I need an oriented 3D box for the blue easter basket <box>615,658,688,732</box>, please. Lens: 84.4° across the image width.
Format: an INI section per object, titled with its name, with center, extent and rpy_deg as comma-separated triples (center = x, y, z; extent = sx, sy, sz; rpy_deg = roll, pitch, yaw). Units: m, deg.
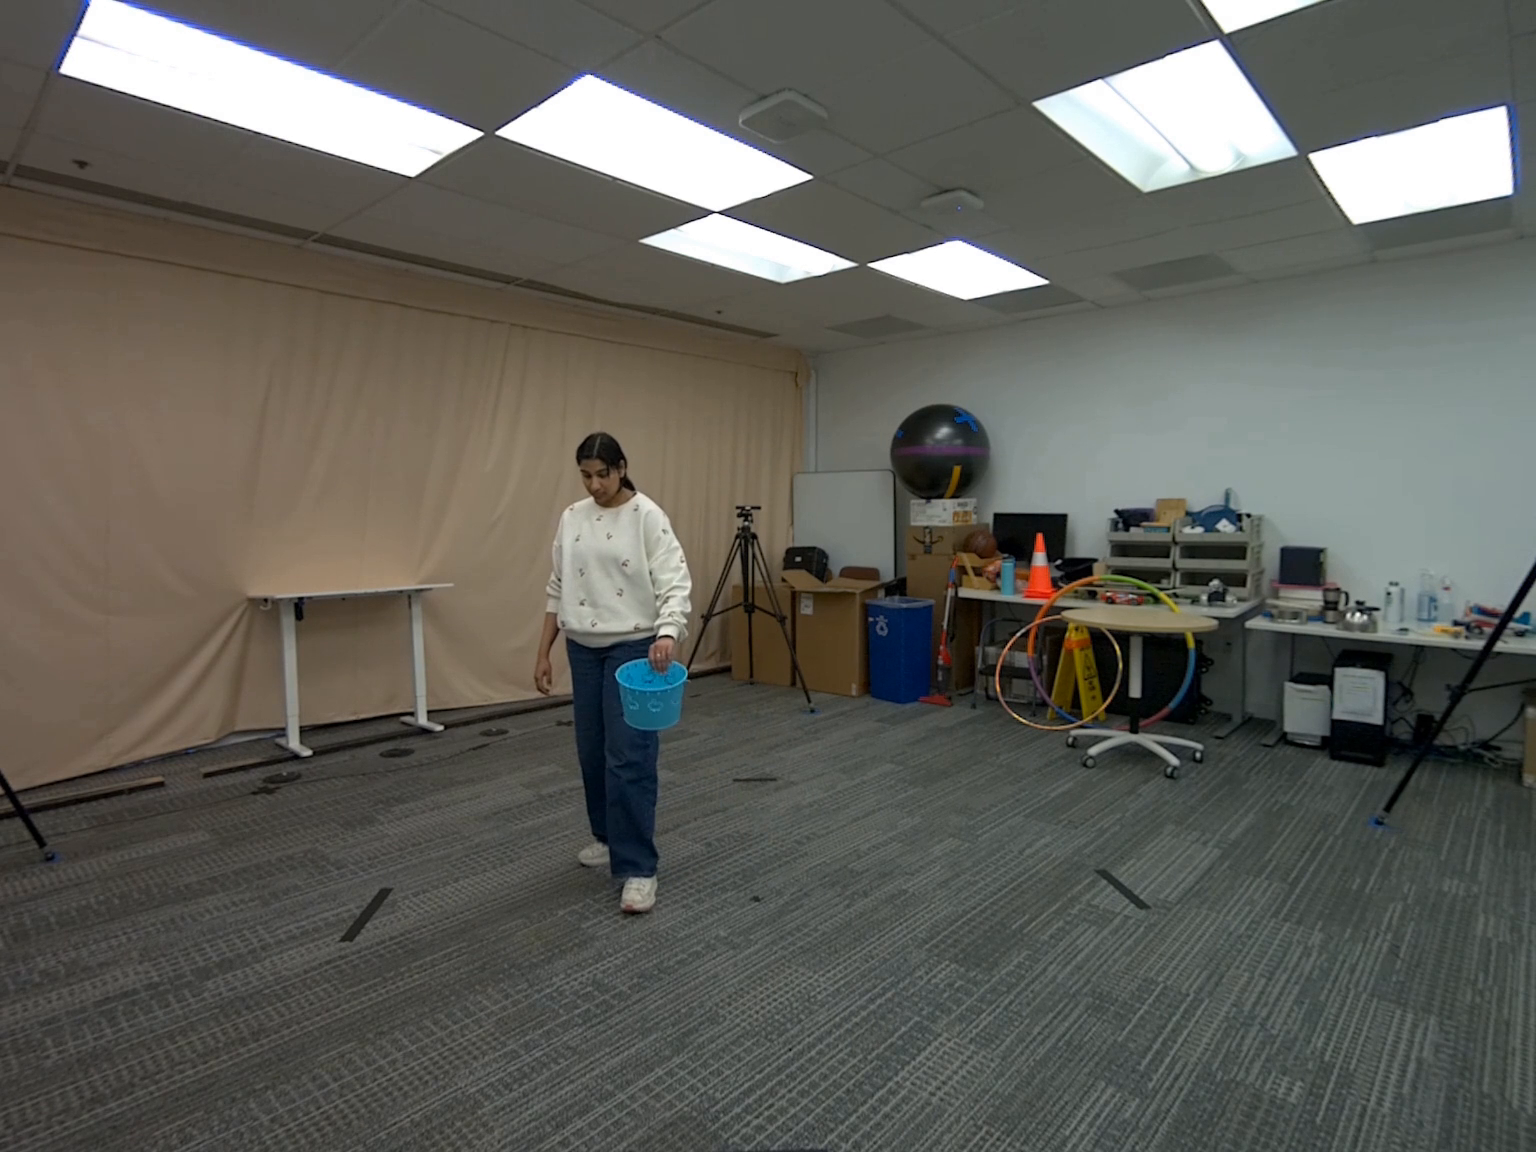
[blue easter basket]
center = -0.359, 0.391, 2.723
extent = 0.243, 0.154, 0.246
rpy_deg = 1, 17, -2
